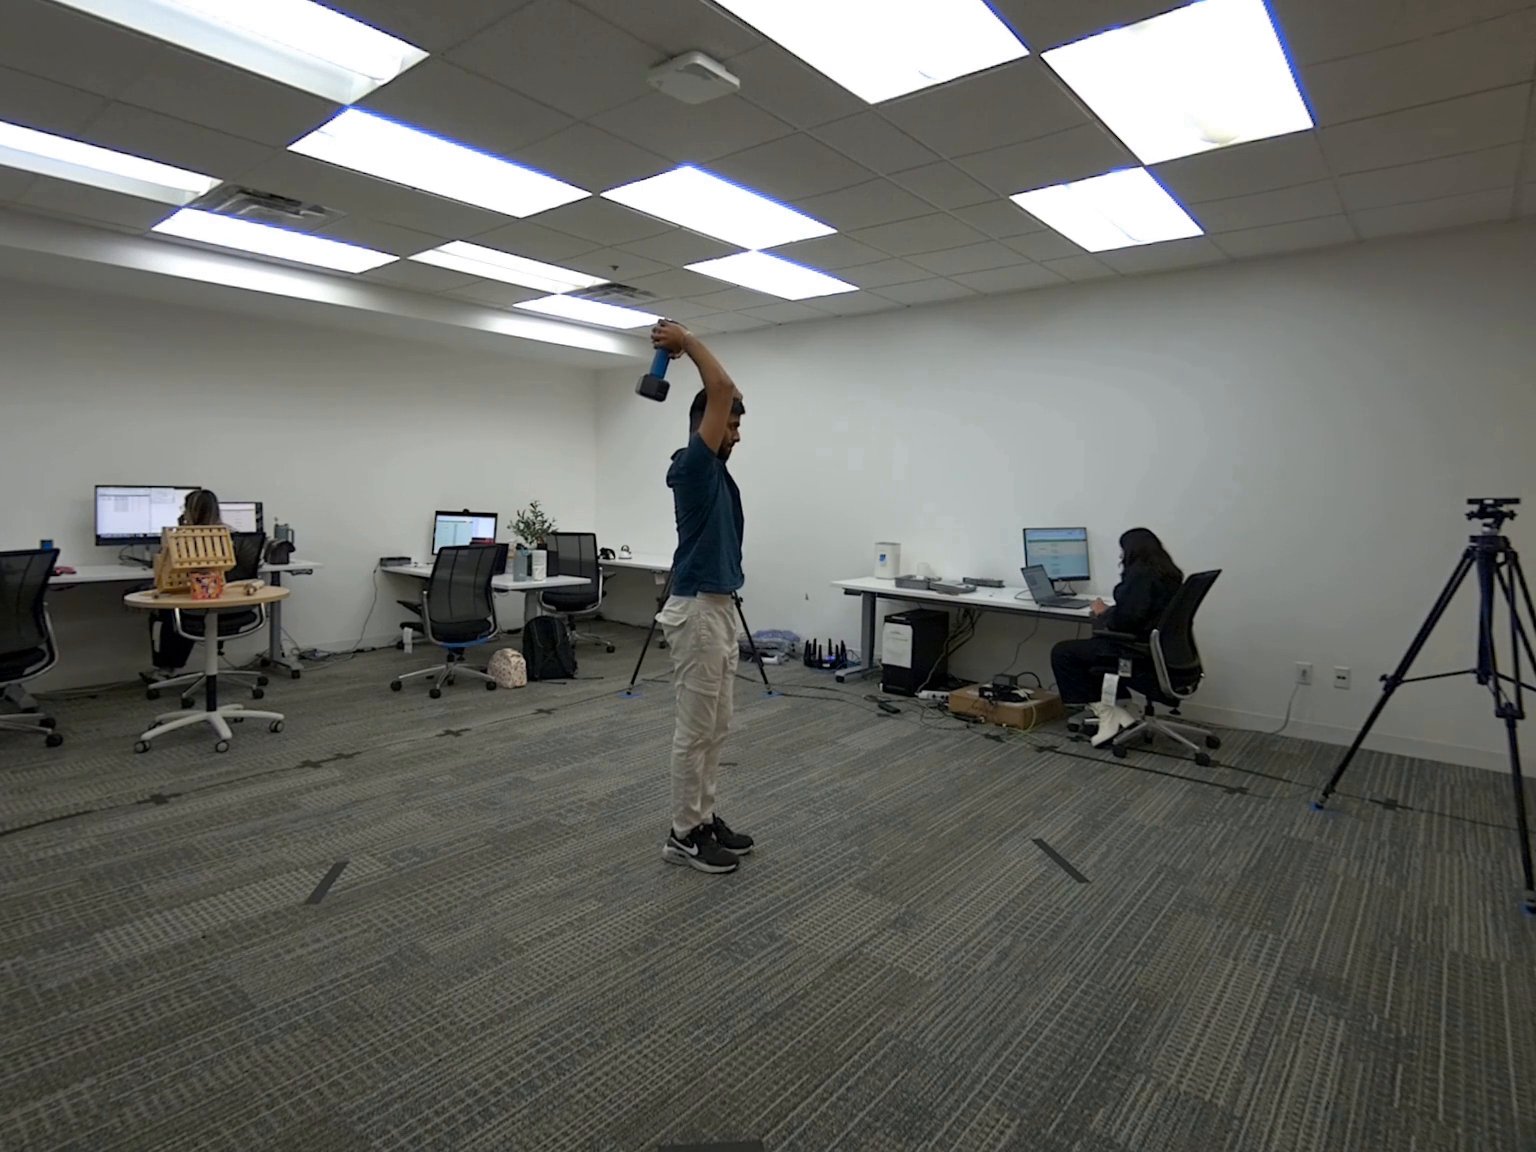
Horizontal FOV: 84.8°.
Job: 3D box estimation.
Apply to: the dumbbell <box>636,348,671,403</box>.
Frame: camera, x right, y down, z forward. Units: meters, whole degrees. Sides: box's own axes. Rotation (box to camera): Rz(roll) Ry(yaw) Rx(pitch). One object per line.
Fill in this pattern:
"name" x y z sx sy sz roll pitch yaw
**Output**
"dumbbell" -0.410 -0.794 3.161 0.124 0.293 0.108 20 1 5
